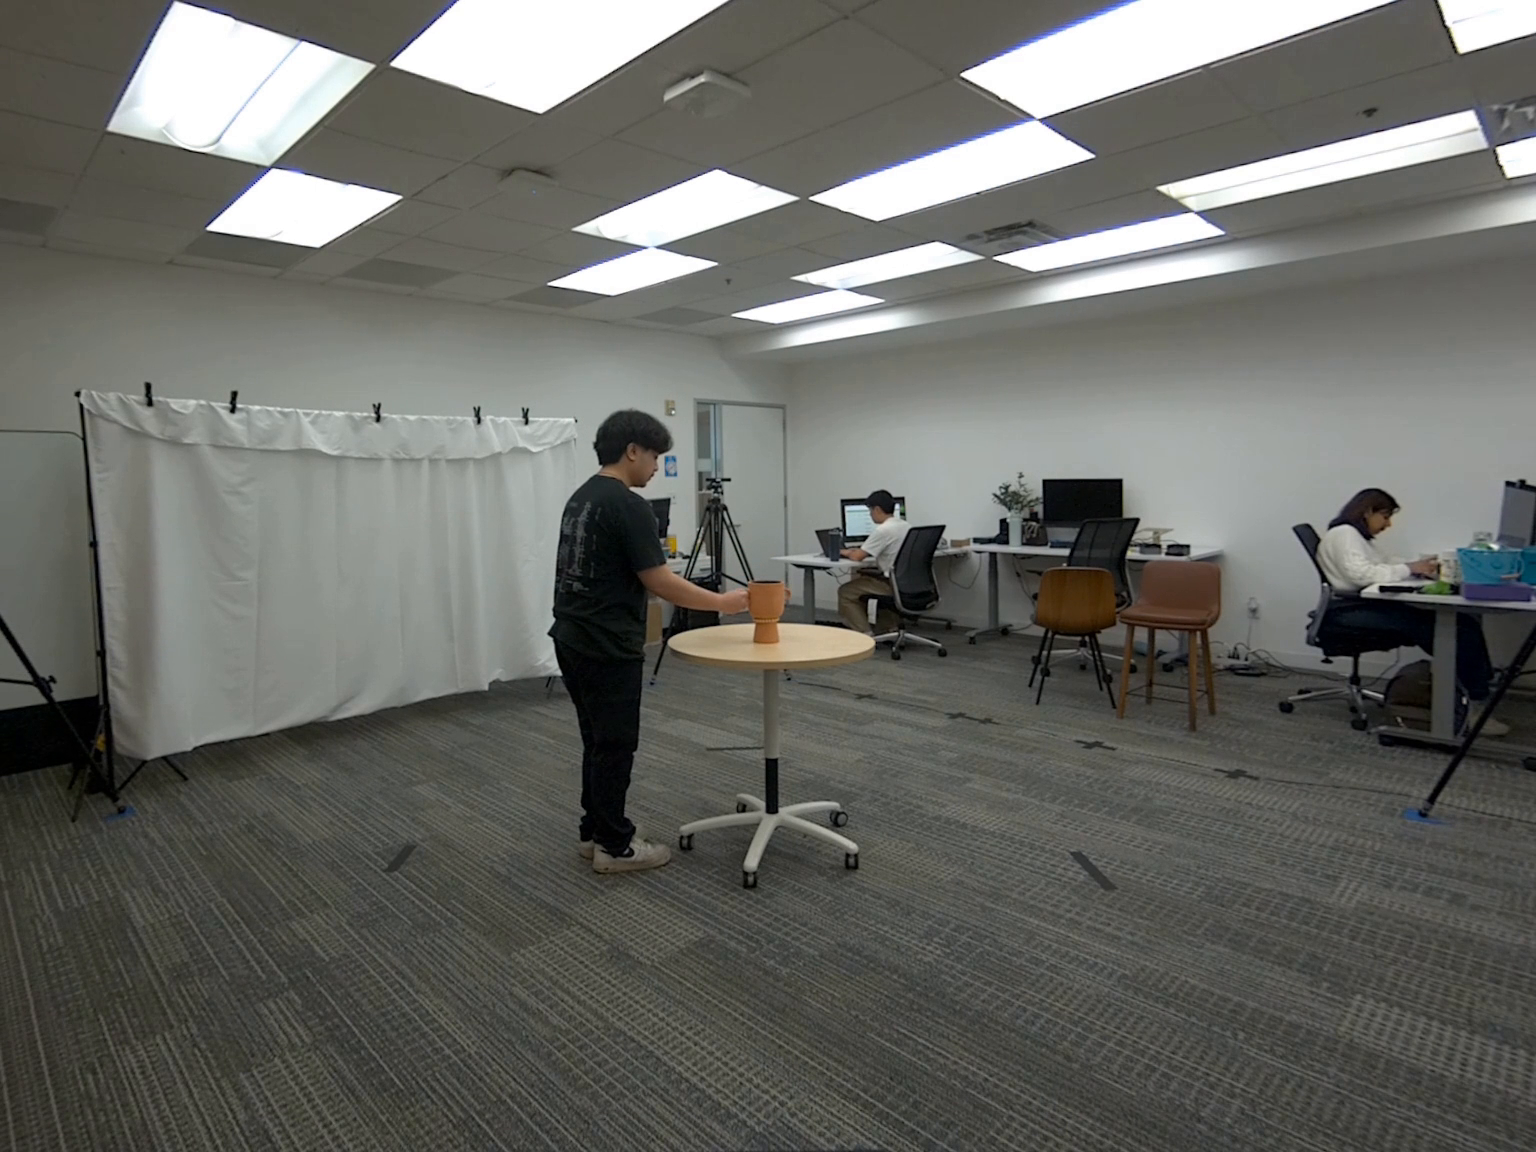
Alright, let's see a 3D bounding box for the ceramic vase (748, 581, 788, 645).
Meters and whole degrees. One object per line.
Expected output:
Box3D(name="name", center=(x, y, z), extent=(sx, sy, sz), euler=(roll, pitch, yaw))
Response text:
Box3D(name="ceramic vase", center=(-0.007, 0.129, 3.148), extent=(0.162, 0.219, 0.132), euler=(1, 4, 20))
